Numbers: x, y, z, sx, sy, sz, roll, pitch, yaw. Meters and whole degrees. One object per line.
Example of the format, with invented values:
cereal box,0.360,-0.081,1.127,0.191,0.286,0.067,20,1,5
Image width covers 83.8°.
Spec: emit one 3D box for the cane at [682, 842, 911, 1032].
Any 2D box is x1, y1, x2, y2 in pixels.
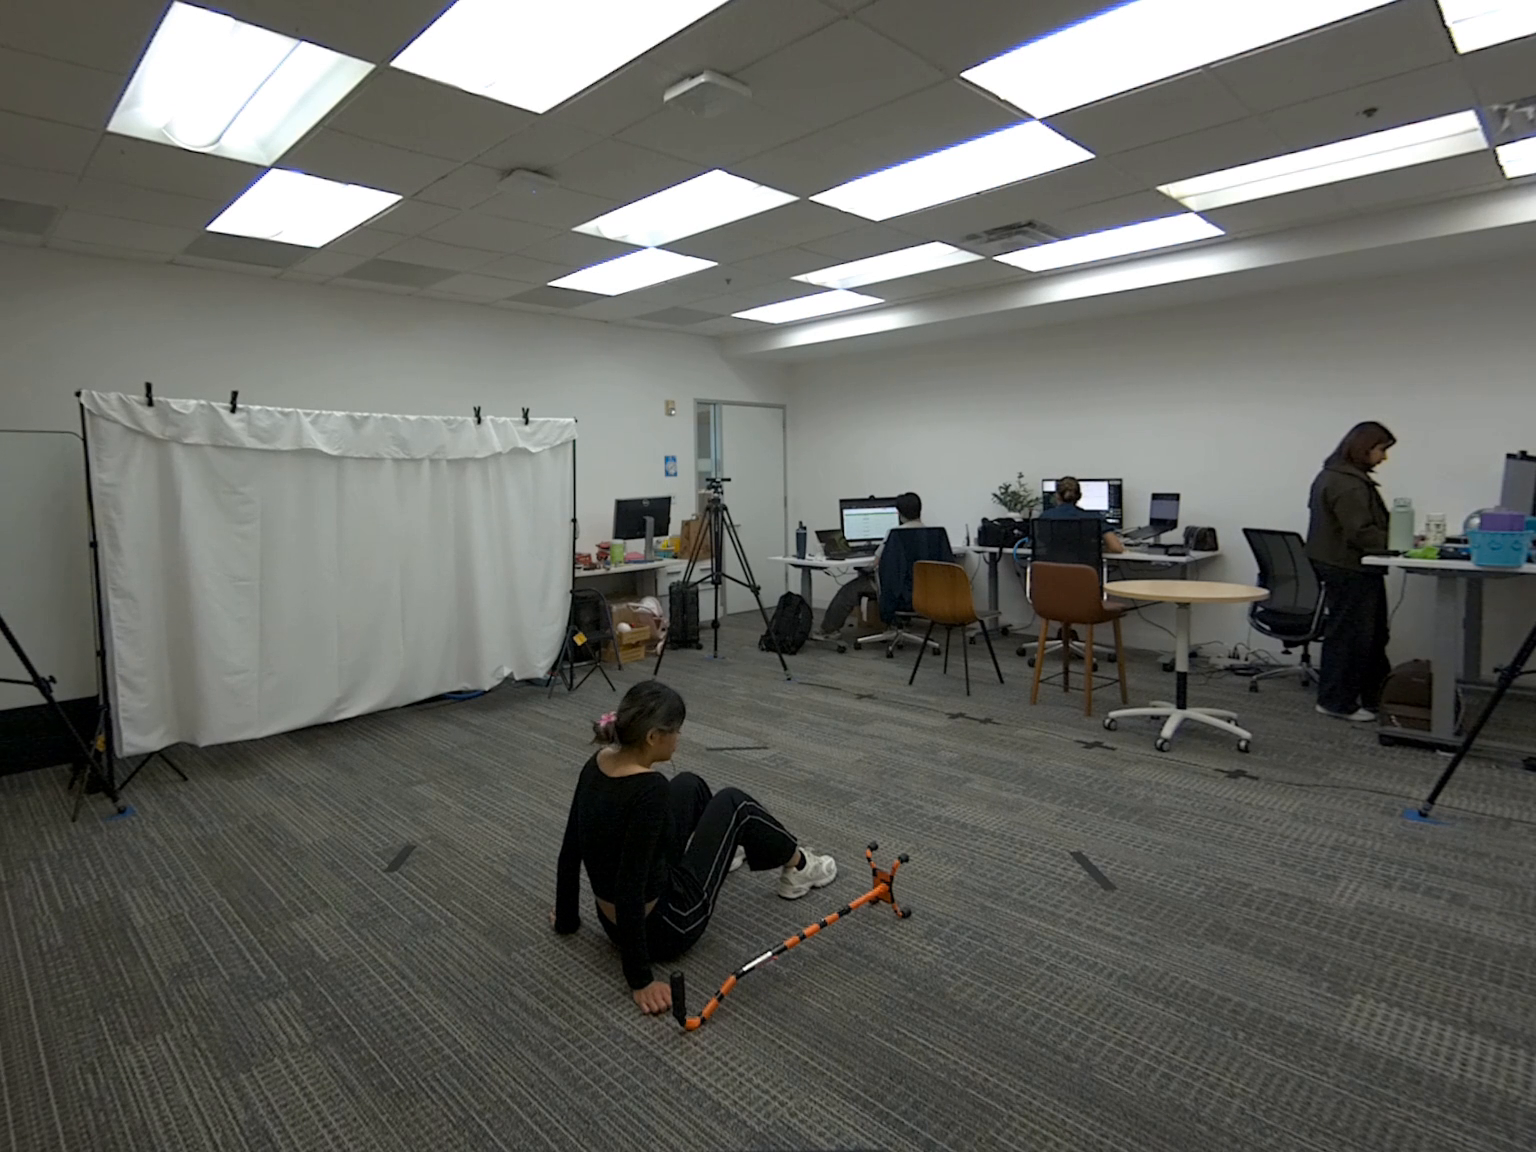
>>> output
cane,0.083,1.024,2.448,0.886,0.205,0.156,-11,11,-42
